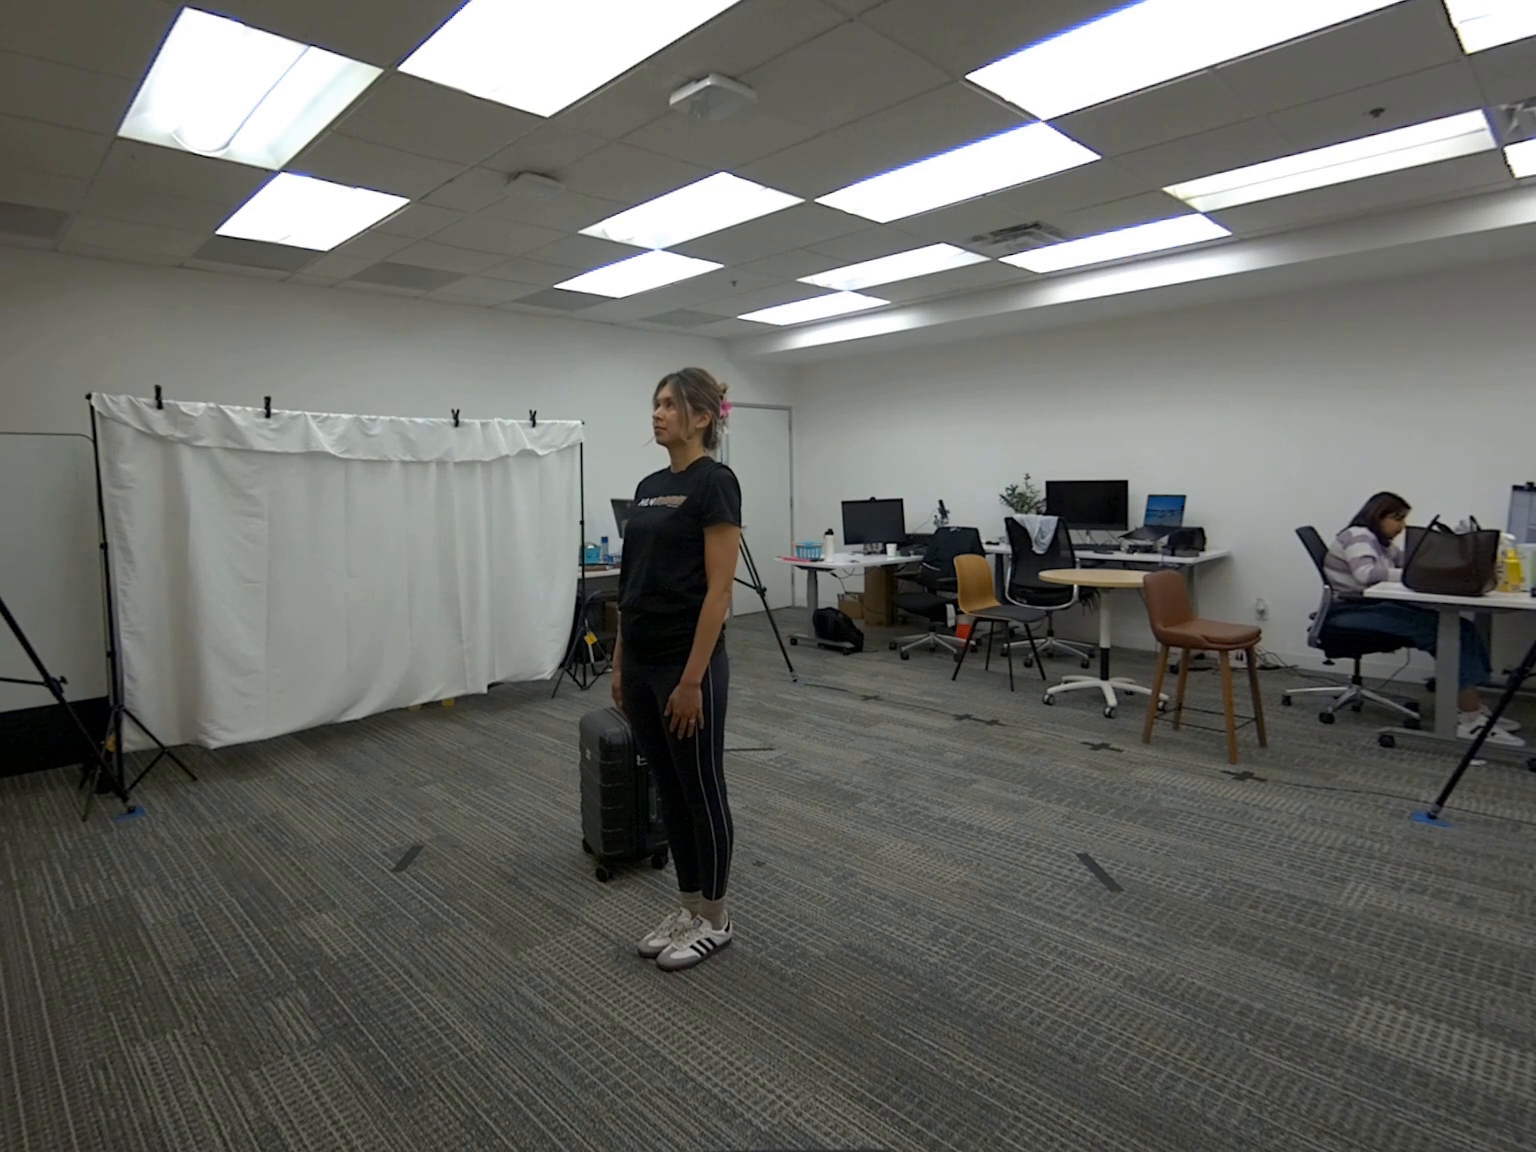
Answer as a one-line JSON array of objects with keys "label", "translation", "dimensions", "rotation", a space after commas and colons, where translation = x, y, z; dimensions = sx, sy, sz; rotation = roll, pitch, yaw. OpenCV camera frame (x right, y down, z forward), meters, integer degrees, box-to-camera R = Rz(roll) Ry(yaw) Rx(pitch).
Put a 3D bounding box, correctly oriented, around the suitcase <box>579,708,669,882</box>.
[{"label": "suitcase", "translation": [-0.555, 0.579, 3.146], "dimensions": [0.252, 0.975, 0.393], "rotation": [-4, 4, -23]}]
